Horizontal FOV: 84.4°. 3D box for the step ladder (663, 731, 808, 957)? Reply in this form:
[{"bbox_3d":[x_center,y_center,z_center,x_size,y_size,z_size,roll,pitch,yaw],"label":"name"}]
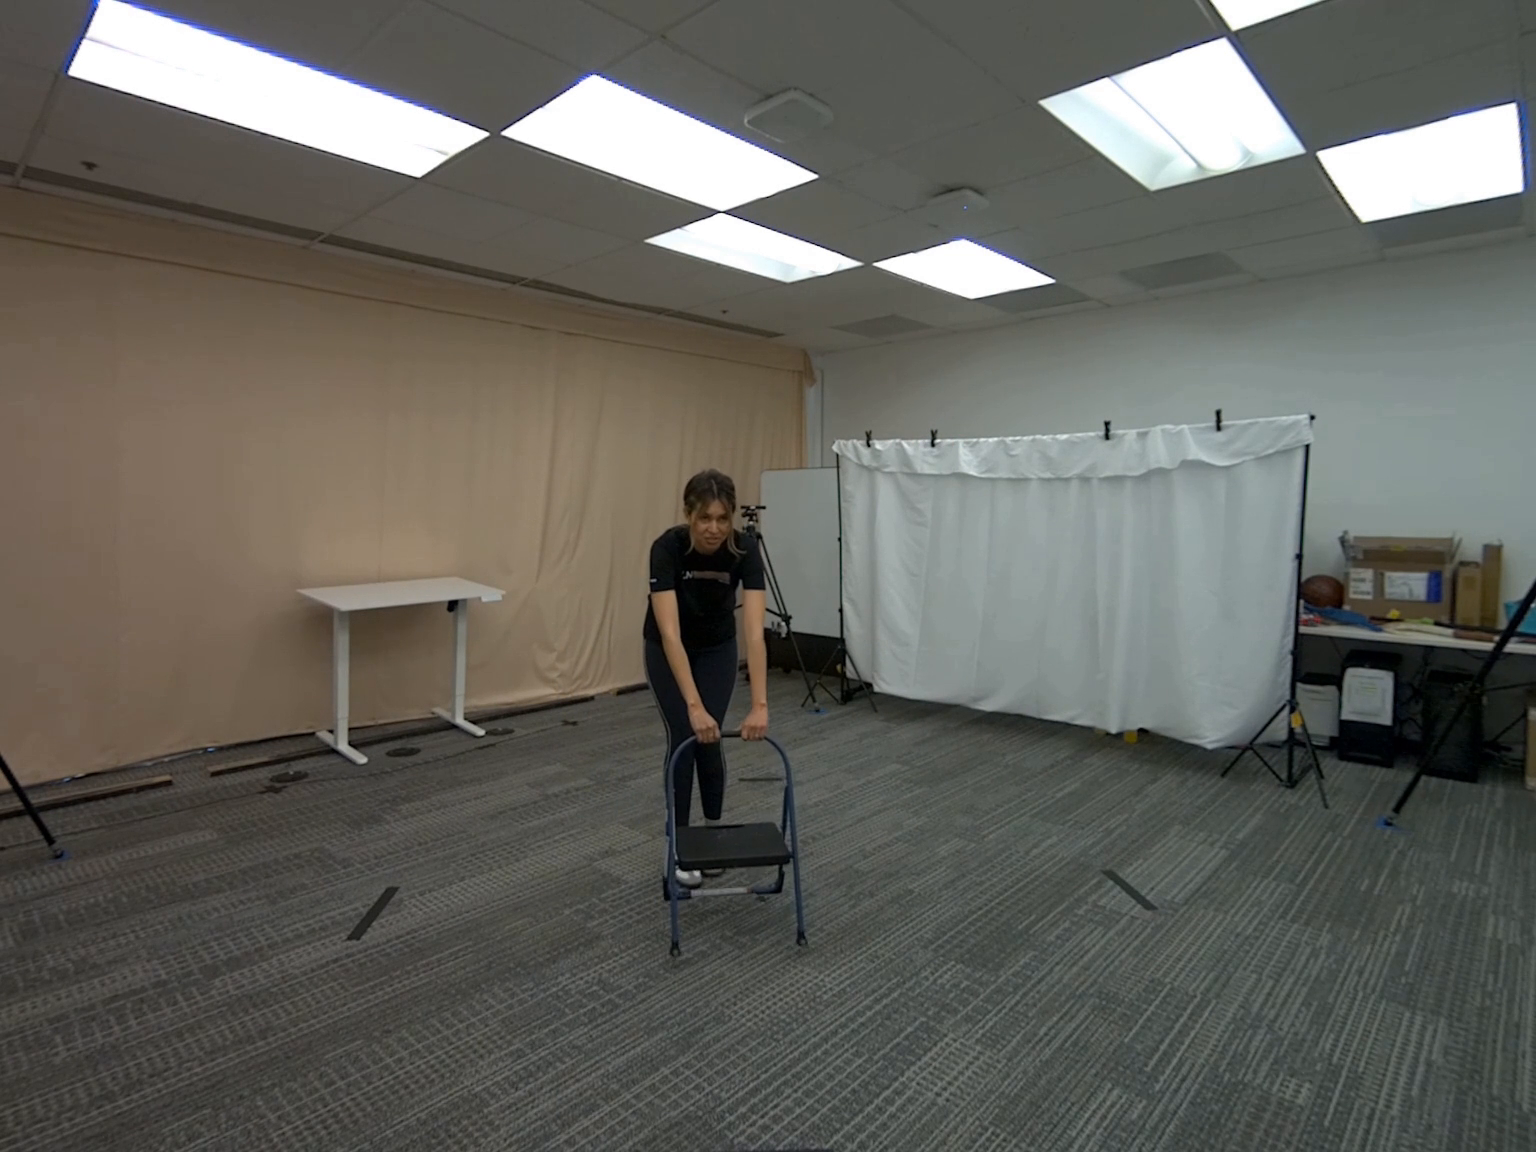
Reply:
[{"bbox_3d":[-0.113,0.830,2.703,0.426,0.603,0.354,0,7,-10],"label":"step ladder"}]
